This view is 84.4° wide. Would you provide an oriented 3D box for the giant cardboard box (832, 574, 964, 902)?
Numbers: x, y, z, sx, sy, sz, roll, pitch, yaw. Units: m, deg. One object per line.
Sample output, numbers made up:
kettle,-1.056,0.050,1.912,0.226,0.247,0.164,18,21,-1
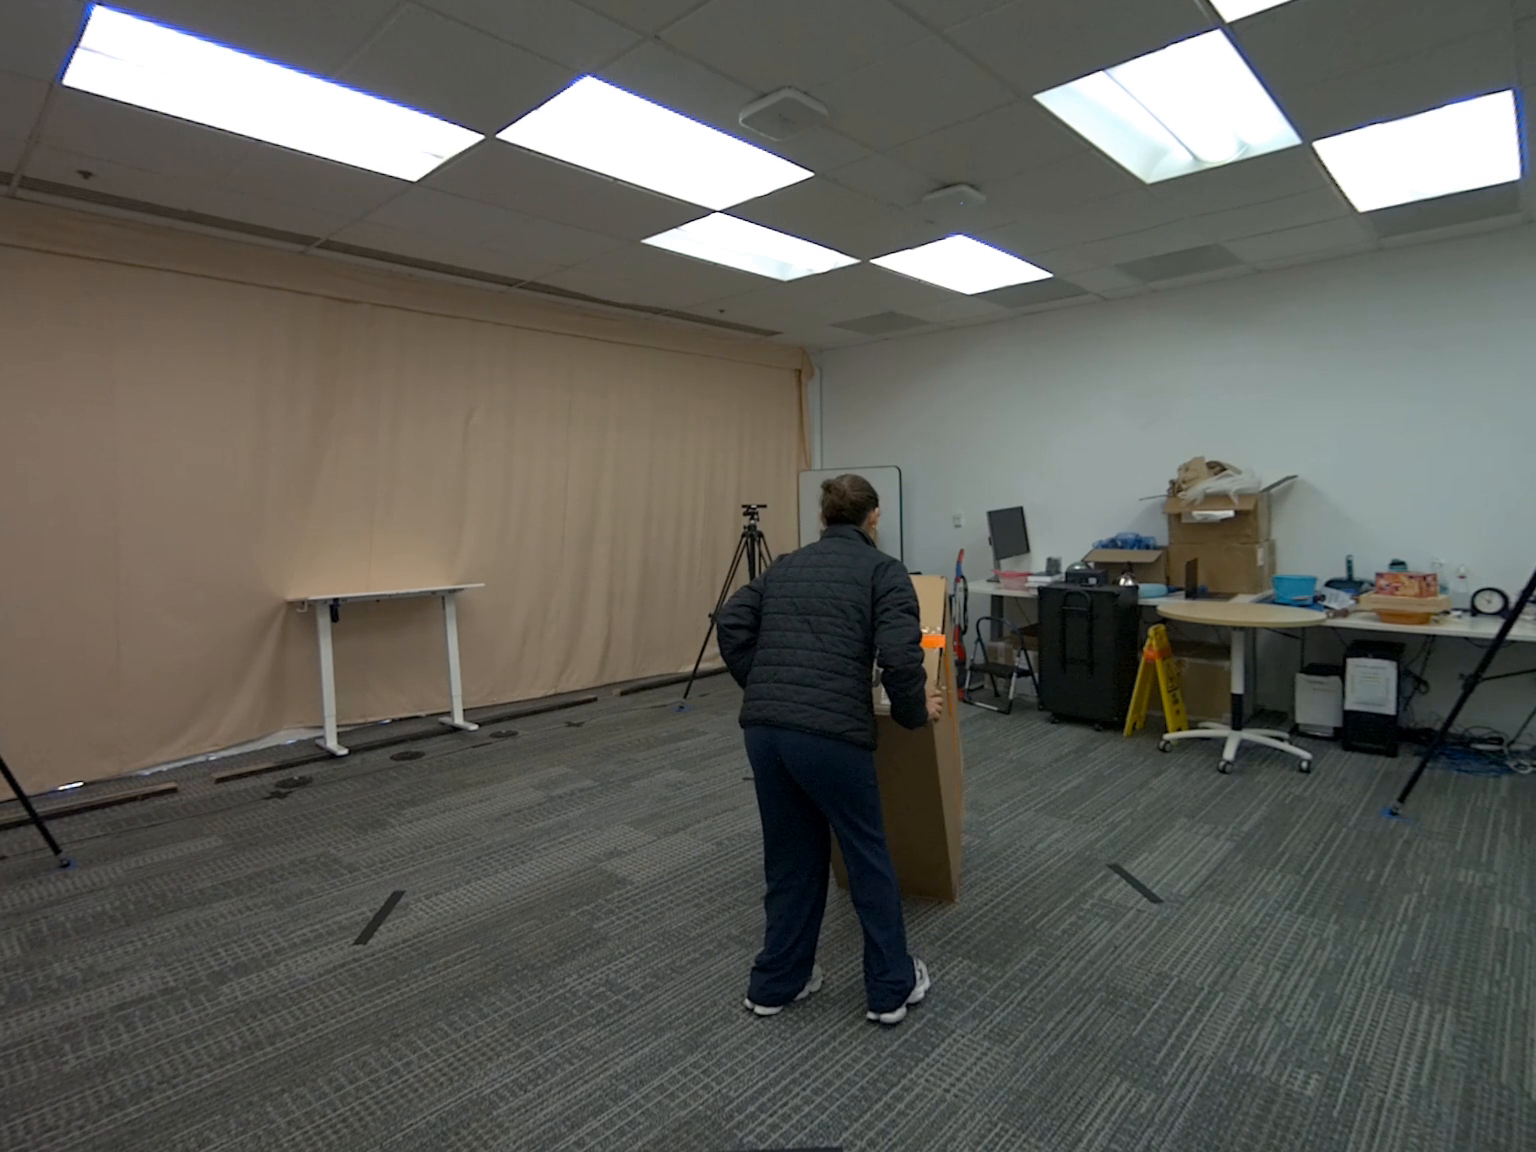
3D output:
giant cardboard box,0.432,0.565,2.891,0.456,1.000,0.587,1,43,18
